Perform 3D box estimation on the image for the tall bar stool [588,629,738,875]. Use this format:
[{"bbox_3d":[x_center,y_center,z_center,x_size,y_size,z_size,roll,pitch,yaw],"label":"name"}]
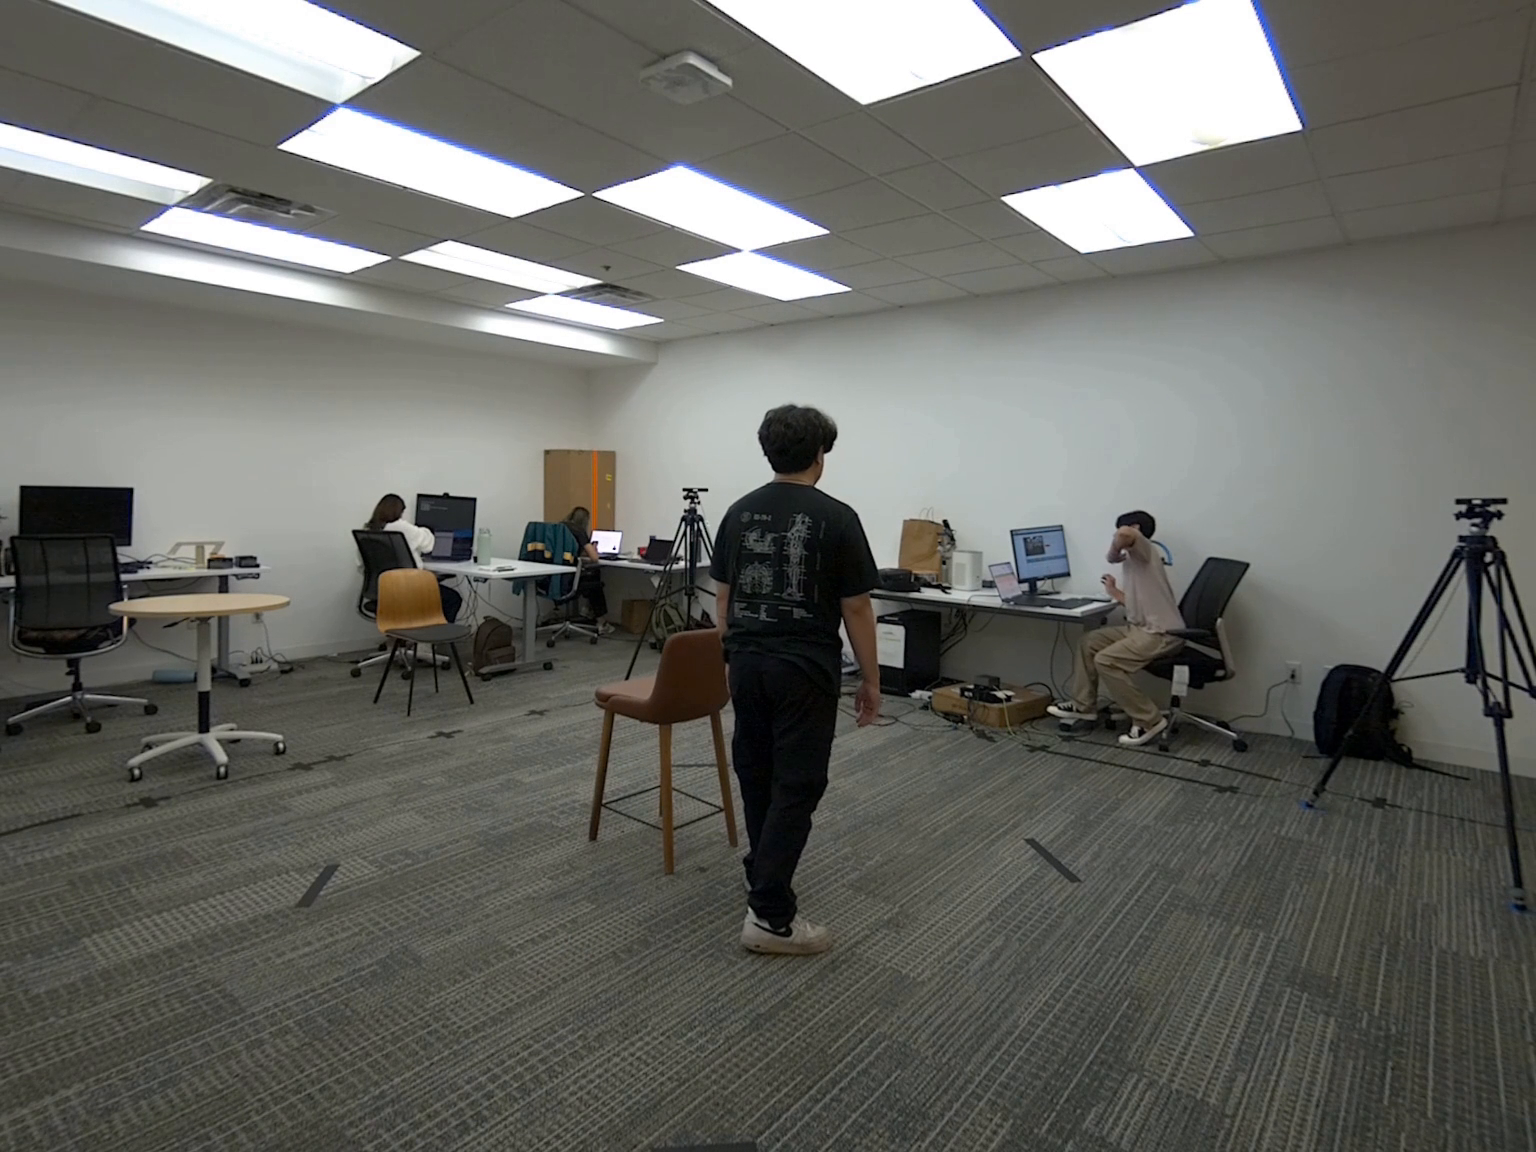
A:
[{"bbox_3d":[-0.406,0.611,3.314,0.484,0.886,0.442,6,6,41],"label":"tall bar stool"}]
